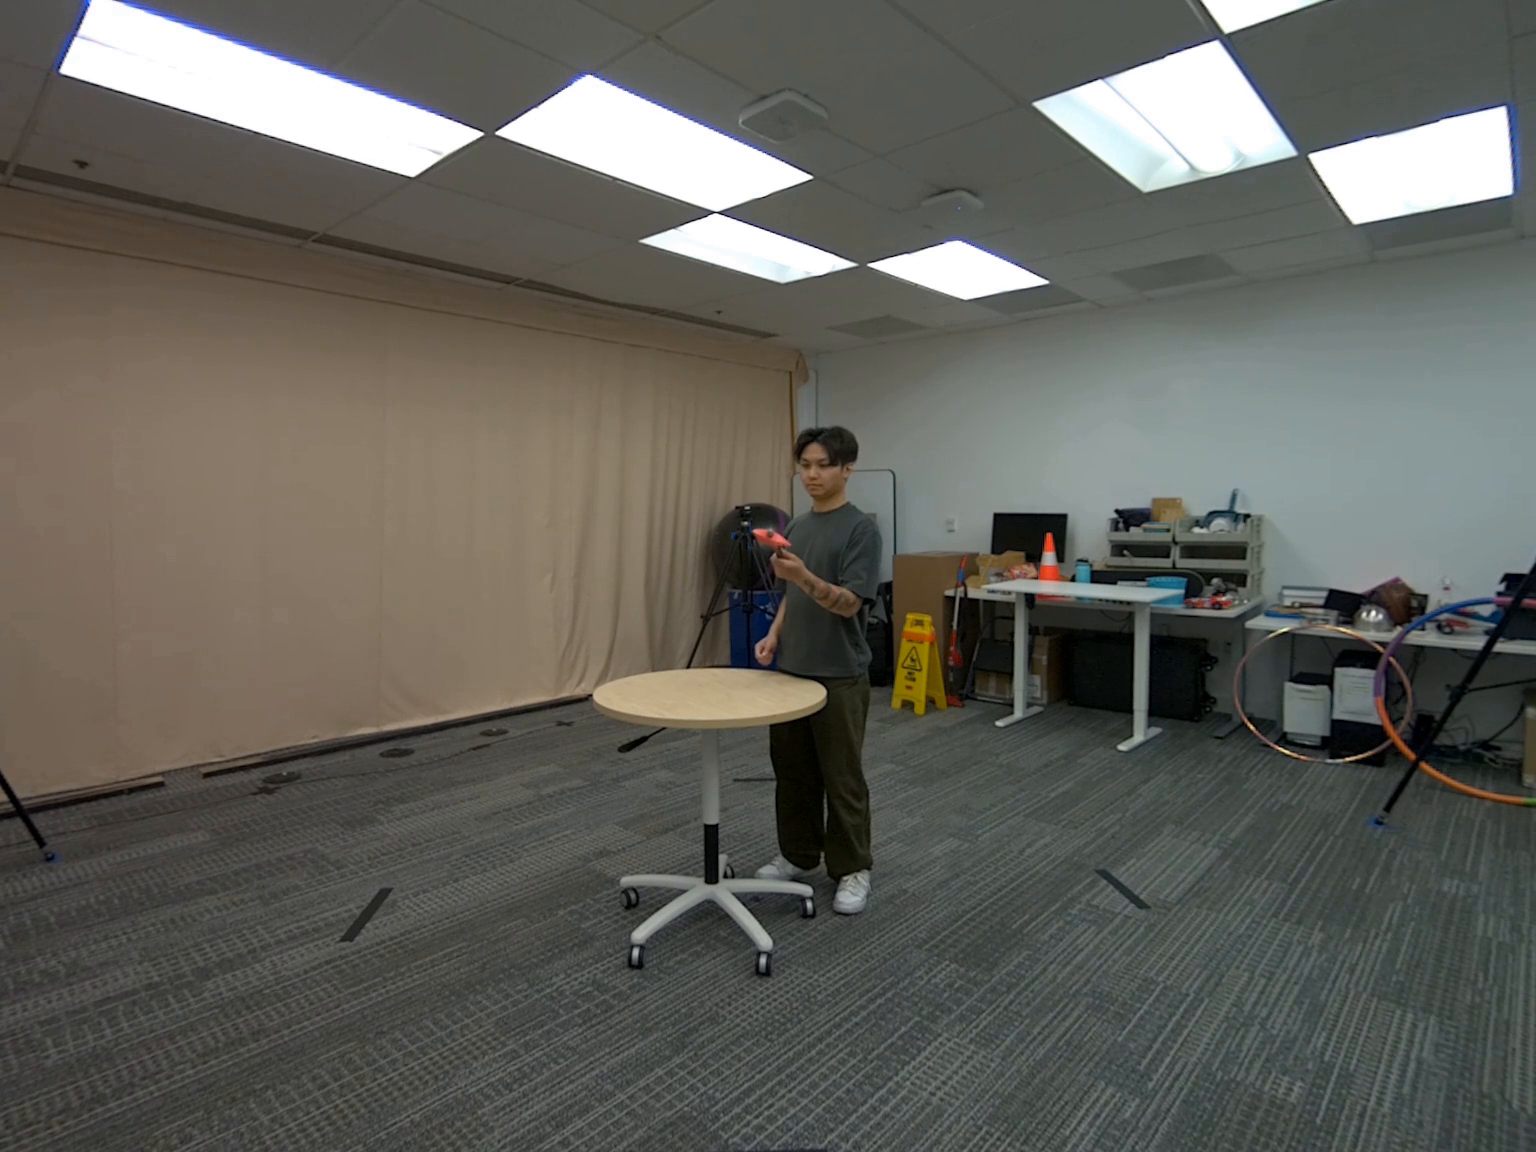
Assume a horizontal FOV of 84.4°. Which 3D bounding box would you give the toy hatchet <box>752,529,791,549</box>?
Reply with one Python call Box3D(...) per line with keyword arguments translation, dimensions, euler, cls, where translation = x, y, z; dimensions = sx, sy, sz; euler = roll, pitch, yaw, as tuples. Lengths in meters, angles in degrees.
Box3D(translation=(0.012, -0.076, 2.630), dimensions=(0.133, 0.029, 0.266), euler=(27, -18, 11), cls="toy hatchet")
